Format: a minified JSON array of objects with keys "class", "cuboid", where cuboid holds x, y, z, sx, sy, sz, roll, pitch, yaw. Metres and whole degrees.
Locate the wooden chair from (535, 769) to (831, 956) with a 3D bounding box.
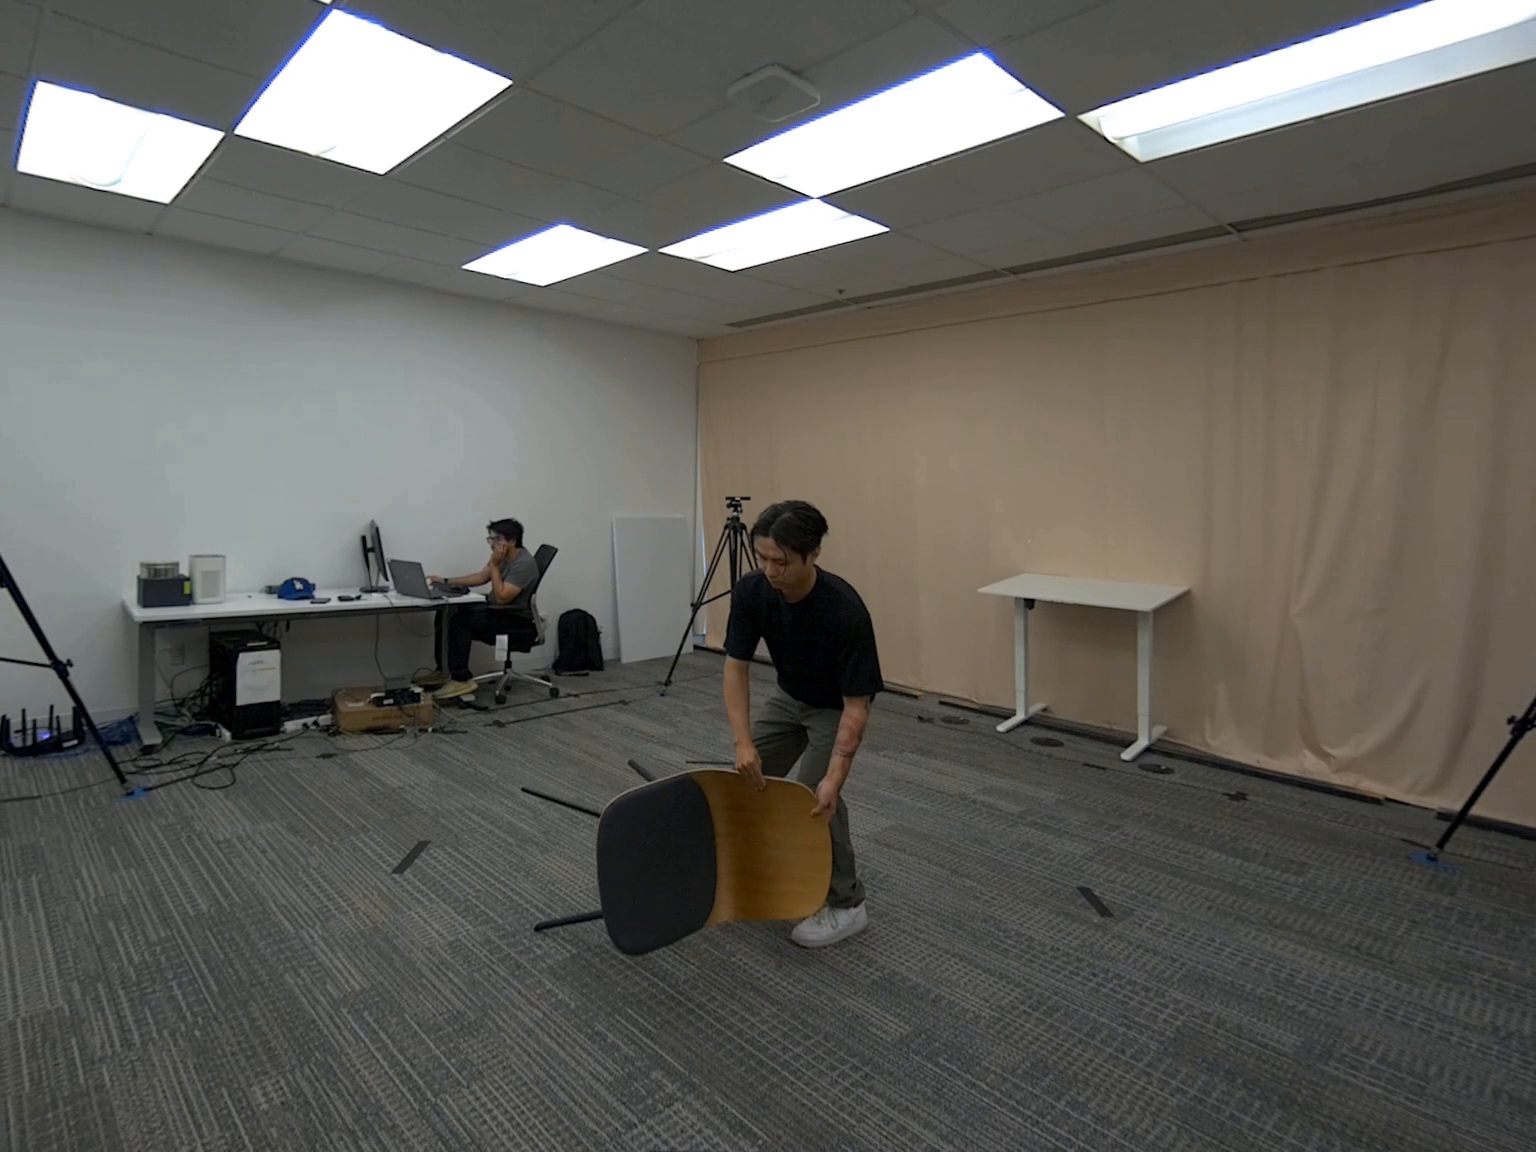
[{"class":"wooden chair","cuboid":[-0.316,0.856,2.560,0.895,0.480,0.511,-8,-4,38]}]
